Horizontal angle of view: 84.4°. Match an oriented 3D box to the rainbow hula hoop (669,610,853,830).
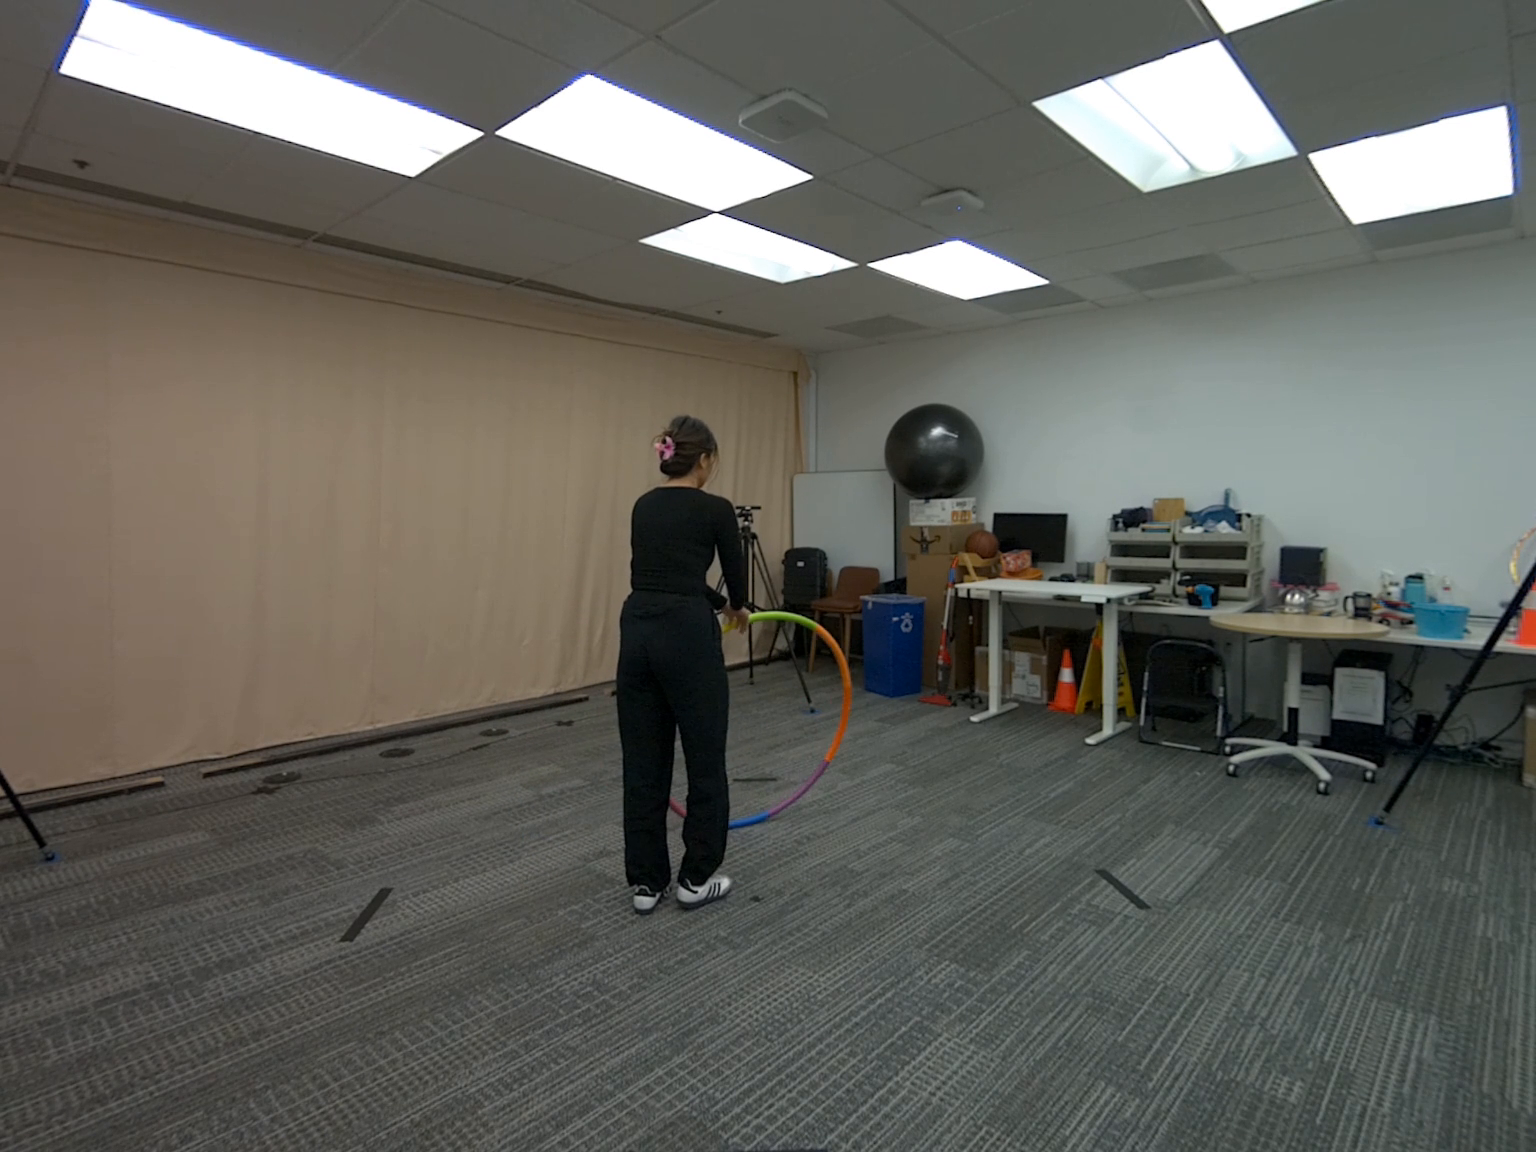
[{"bbox_3d":[-0.060,0.619,3.566,0.953,0.972,0.037,-2,15,-29],"label":"rainbow hula hoop"}]
